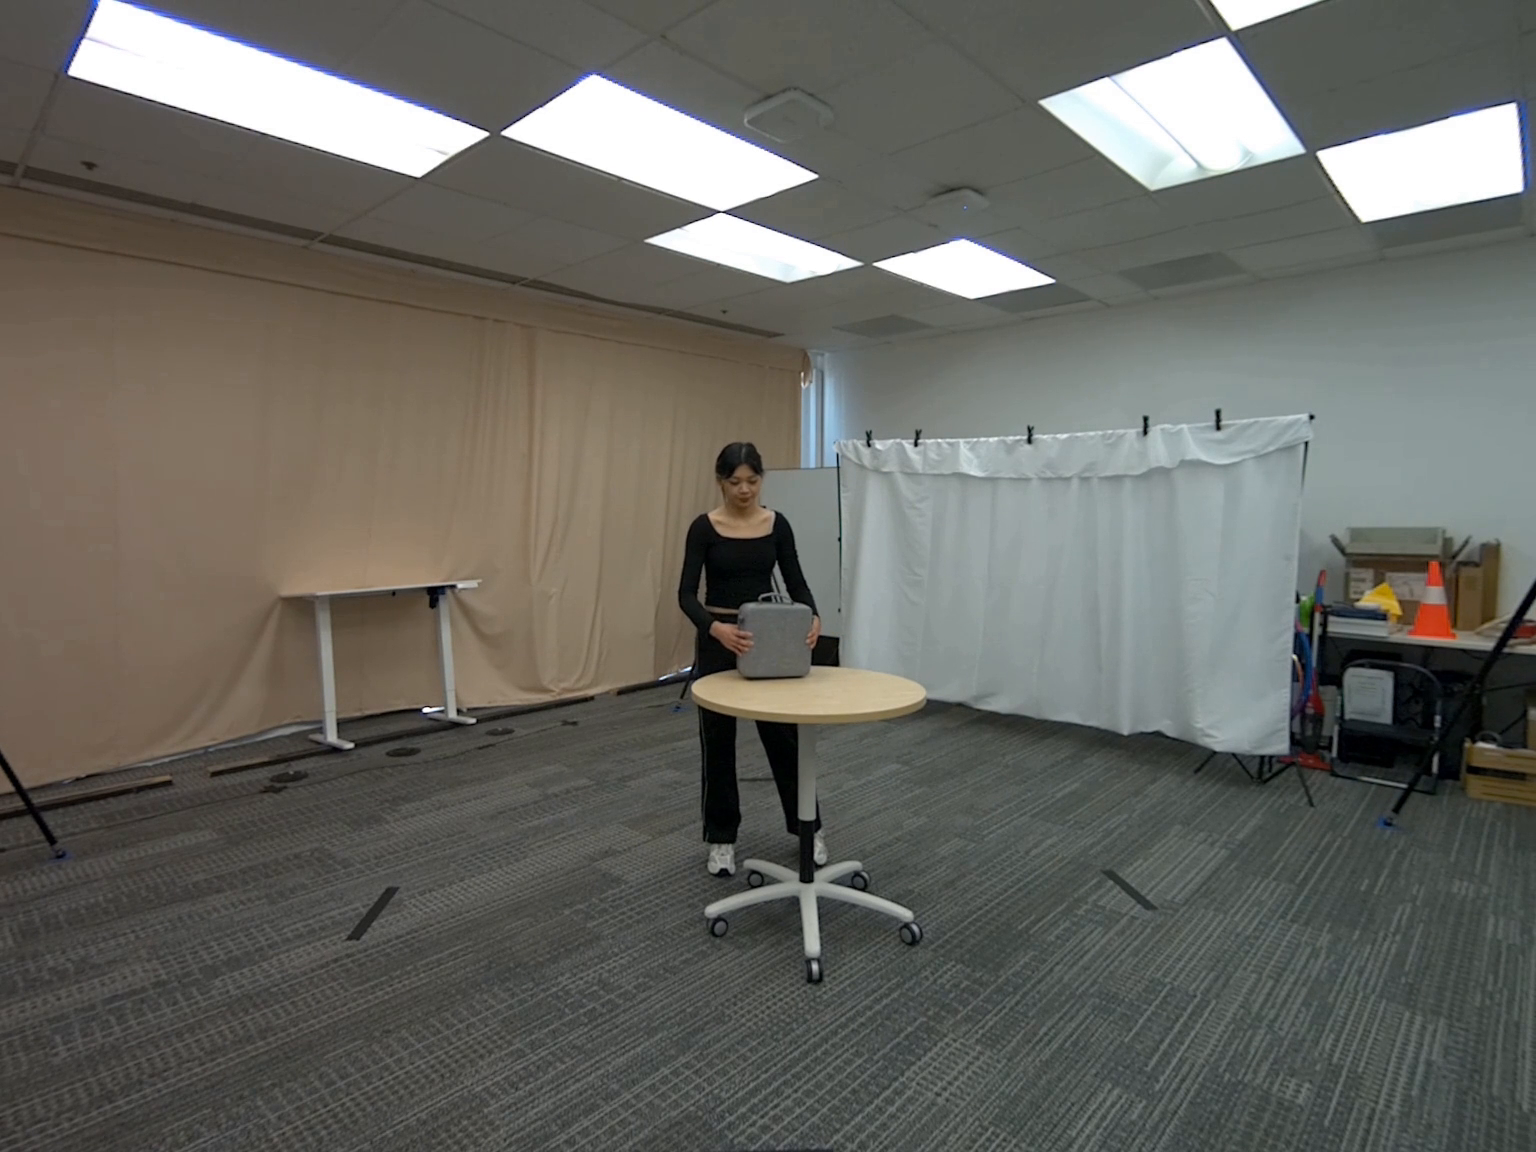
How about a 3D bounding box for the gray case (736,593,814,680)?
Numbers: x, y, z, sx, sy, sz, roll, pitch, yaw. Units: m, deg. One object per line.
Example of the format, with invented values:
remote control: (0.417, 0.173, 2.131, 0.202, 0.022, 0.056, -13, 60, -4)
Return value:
gray case: (0.027, 0.219, 2.936, 0.252, 0.260, 0.106, 1, 3, -16)
